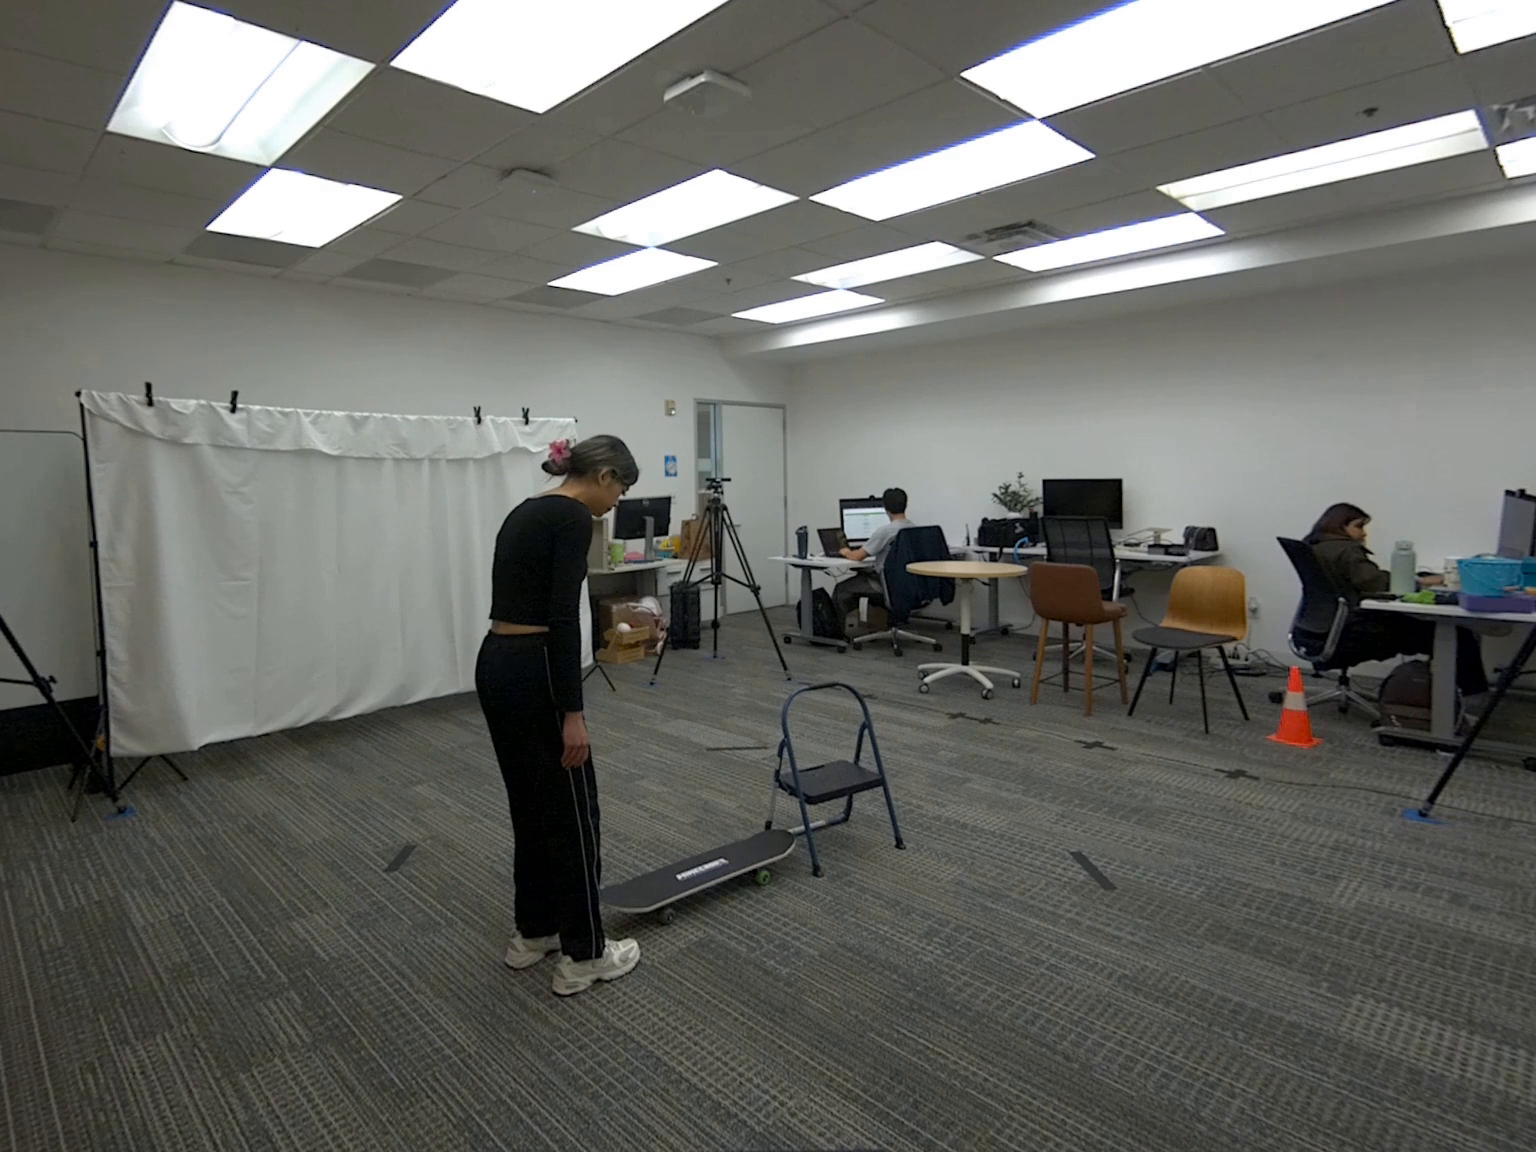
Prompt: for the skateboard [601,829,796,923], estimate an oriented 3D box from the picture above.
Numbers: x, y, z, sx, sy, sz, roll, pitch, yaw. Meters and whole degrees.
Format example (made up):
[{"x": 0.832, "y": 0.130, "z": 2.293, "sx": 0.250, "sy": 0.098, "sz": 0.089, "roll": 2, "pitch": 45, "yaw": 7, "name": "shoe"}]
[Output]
[{"x": -0.218, "y": 1.021, "z": 2.867, "sx": 0.765, "sy": 0.110, "sz": 0.199, "roll": -6, "pitch": 7, "yaw": -39, "name": "skateboard"}]
